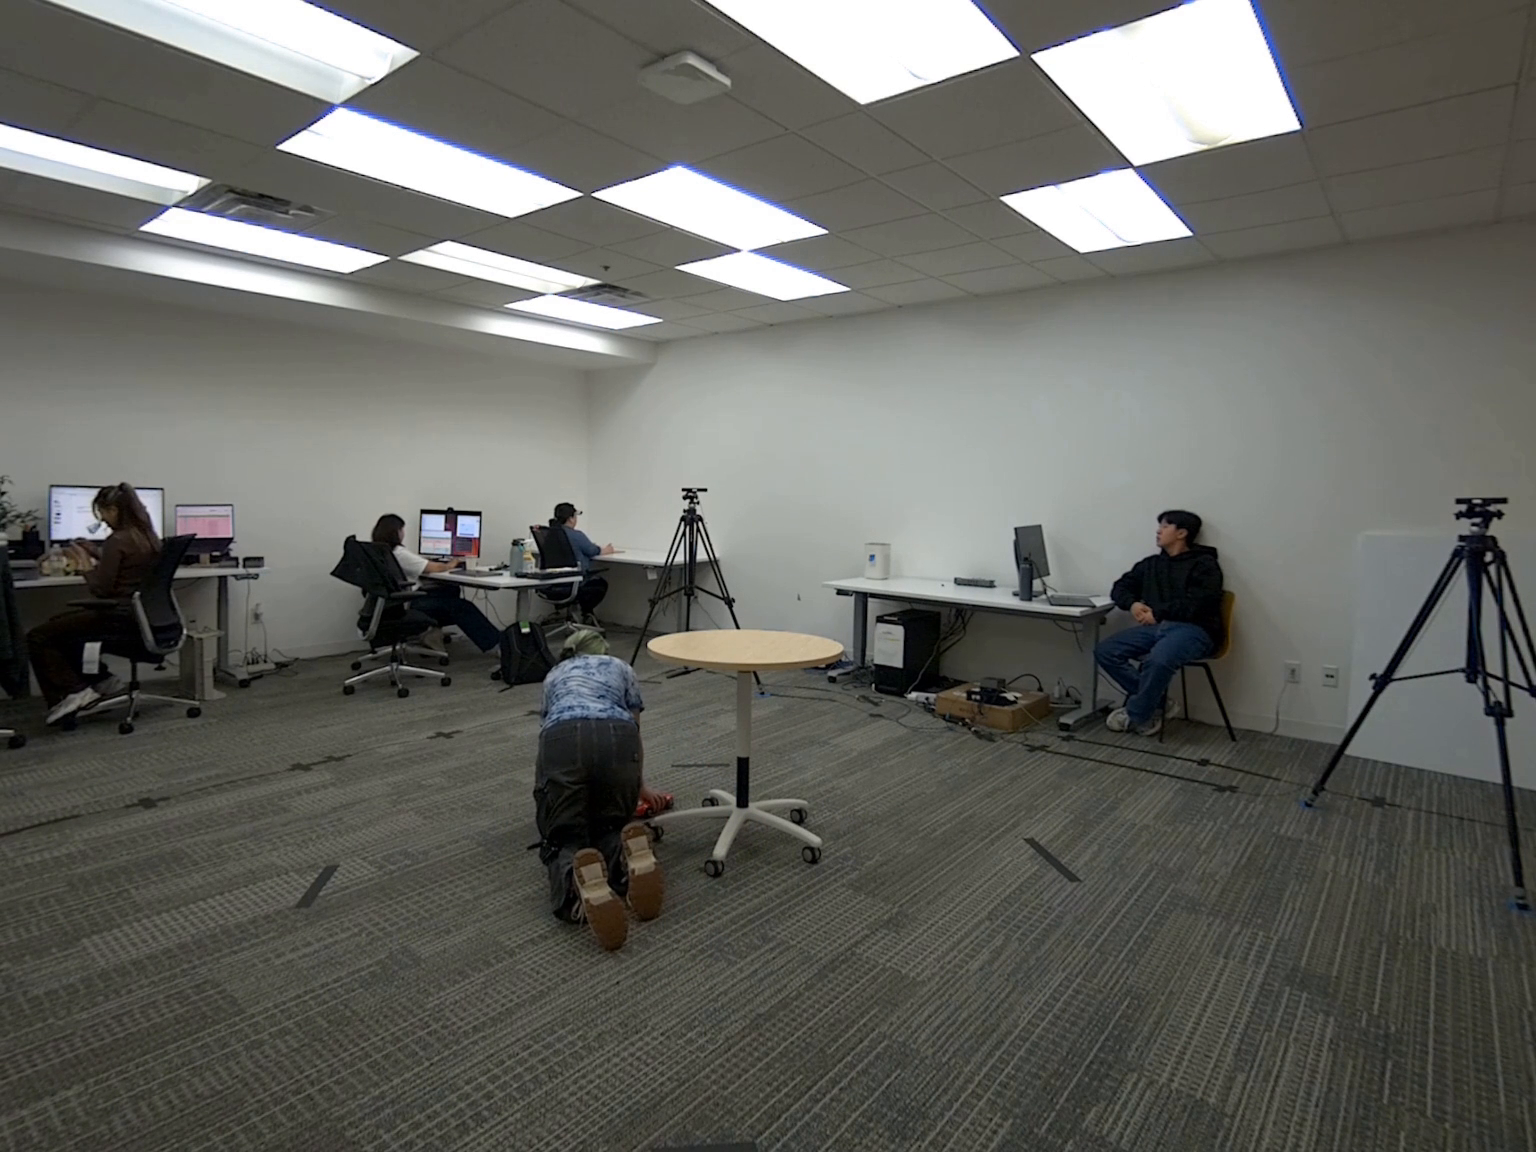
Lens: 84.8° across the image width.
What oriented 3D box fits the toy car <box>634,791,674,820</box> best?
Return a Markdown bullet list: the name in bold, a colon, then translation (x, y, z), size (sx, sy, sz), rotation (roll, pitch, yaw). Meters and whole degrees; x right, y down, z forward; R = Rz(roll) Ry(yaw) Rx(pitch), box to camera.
- **toy car**: translation (-0.529, 0.988, 3.670), size (0.134, 0.083, 0.246), rotation (3, -4, 31)
